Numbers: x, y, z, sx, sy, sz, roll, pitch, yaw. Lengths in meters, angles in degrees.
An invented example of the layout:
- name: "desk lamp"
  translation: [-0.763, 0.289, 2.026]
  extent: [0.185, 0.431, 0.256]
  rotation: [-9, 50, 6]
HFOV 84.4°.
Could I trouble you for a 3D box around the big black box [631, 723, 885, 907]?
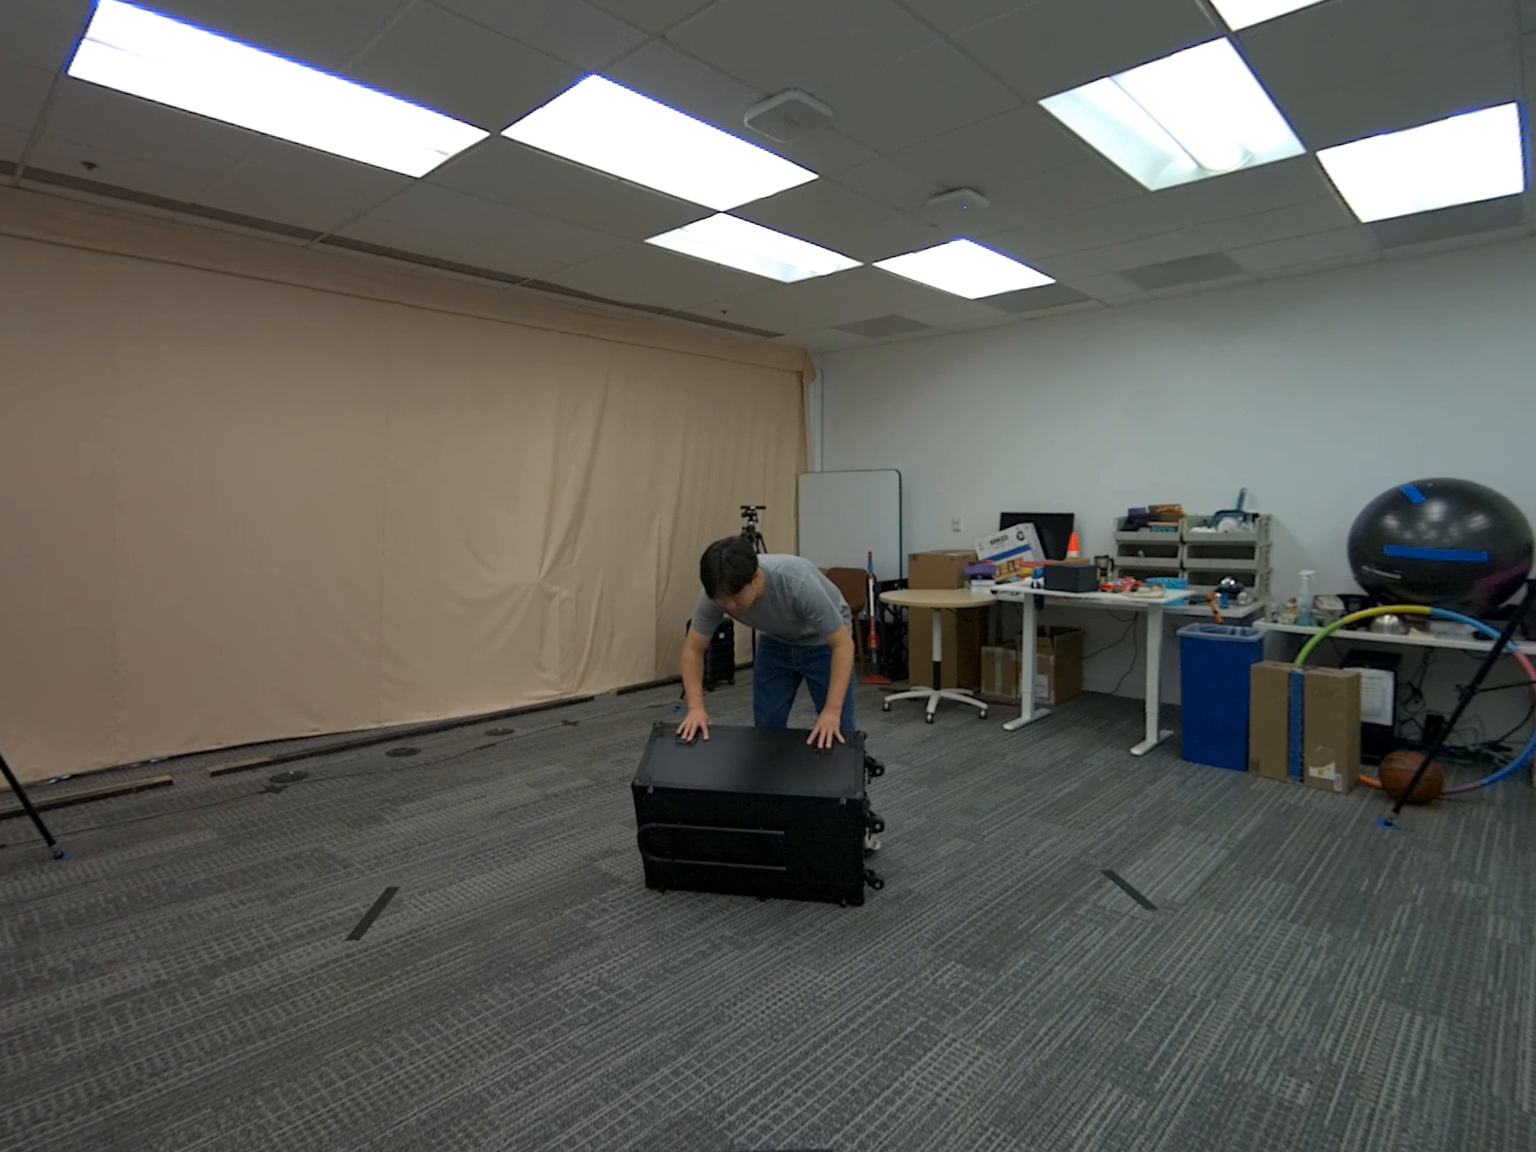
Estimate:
- name: "big black box"
  translation: [-0.017, 0.845, 3.031]
  extent: [0.871, 0.513, 0.398]
  rotation: [1, 25, 10]
